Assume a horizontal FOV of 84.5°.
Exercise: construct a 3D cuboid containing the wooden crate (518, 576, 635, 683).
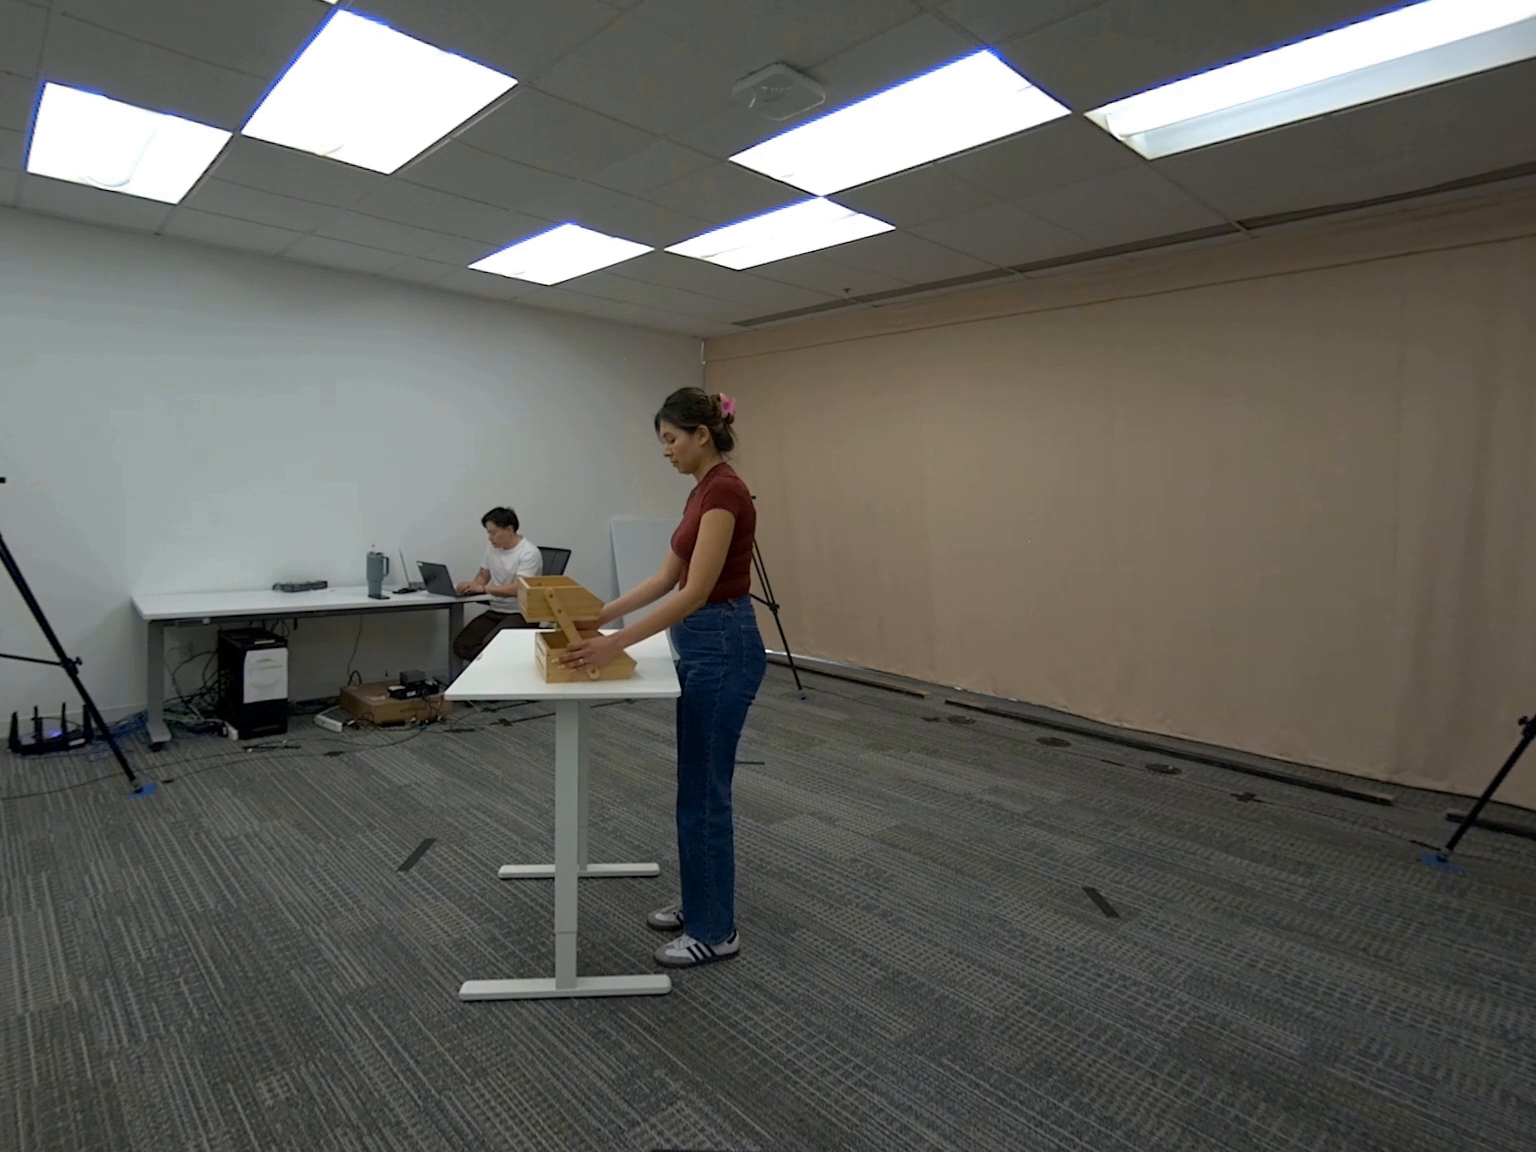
[{"bbox_3d":[-0.553,0.144,2.427,0.298,0.272,0.330,-1,5,-20],"label":"wooden crate"}]
